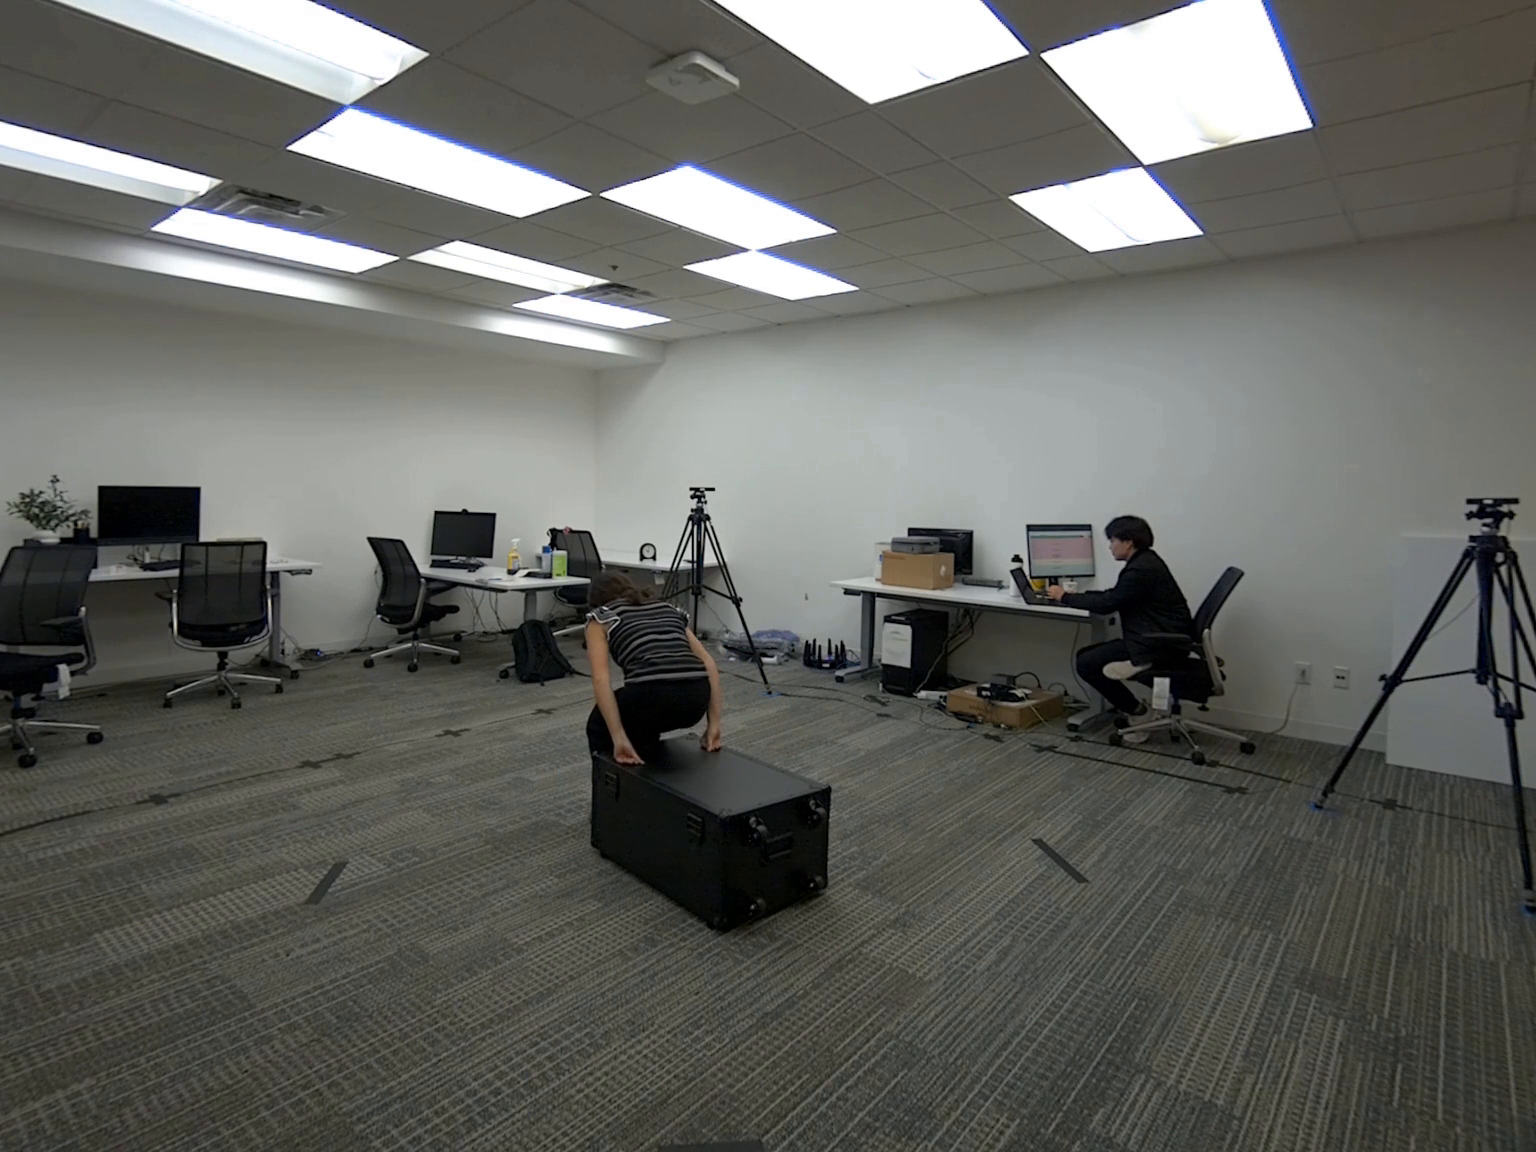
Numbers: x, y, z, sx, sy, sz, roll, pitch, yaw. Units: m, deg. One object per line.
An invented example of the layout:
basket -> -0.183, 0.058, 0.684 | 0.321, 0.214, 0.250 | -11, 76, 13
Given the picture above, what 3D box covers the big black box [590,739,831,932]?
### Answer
big black box -> -0.216, 0.884, 3.042 | 0.505, 0.395, 0.890 | -2, 5, -41
